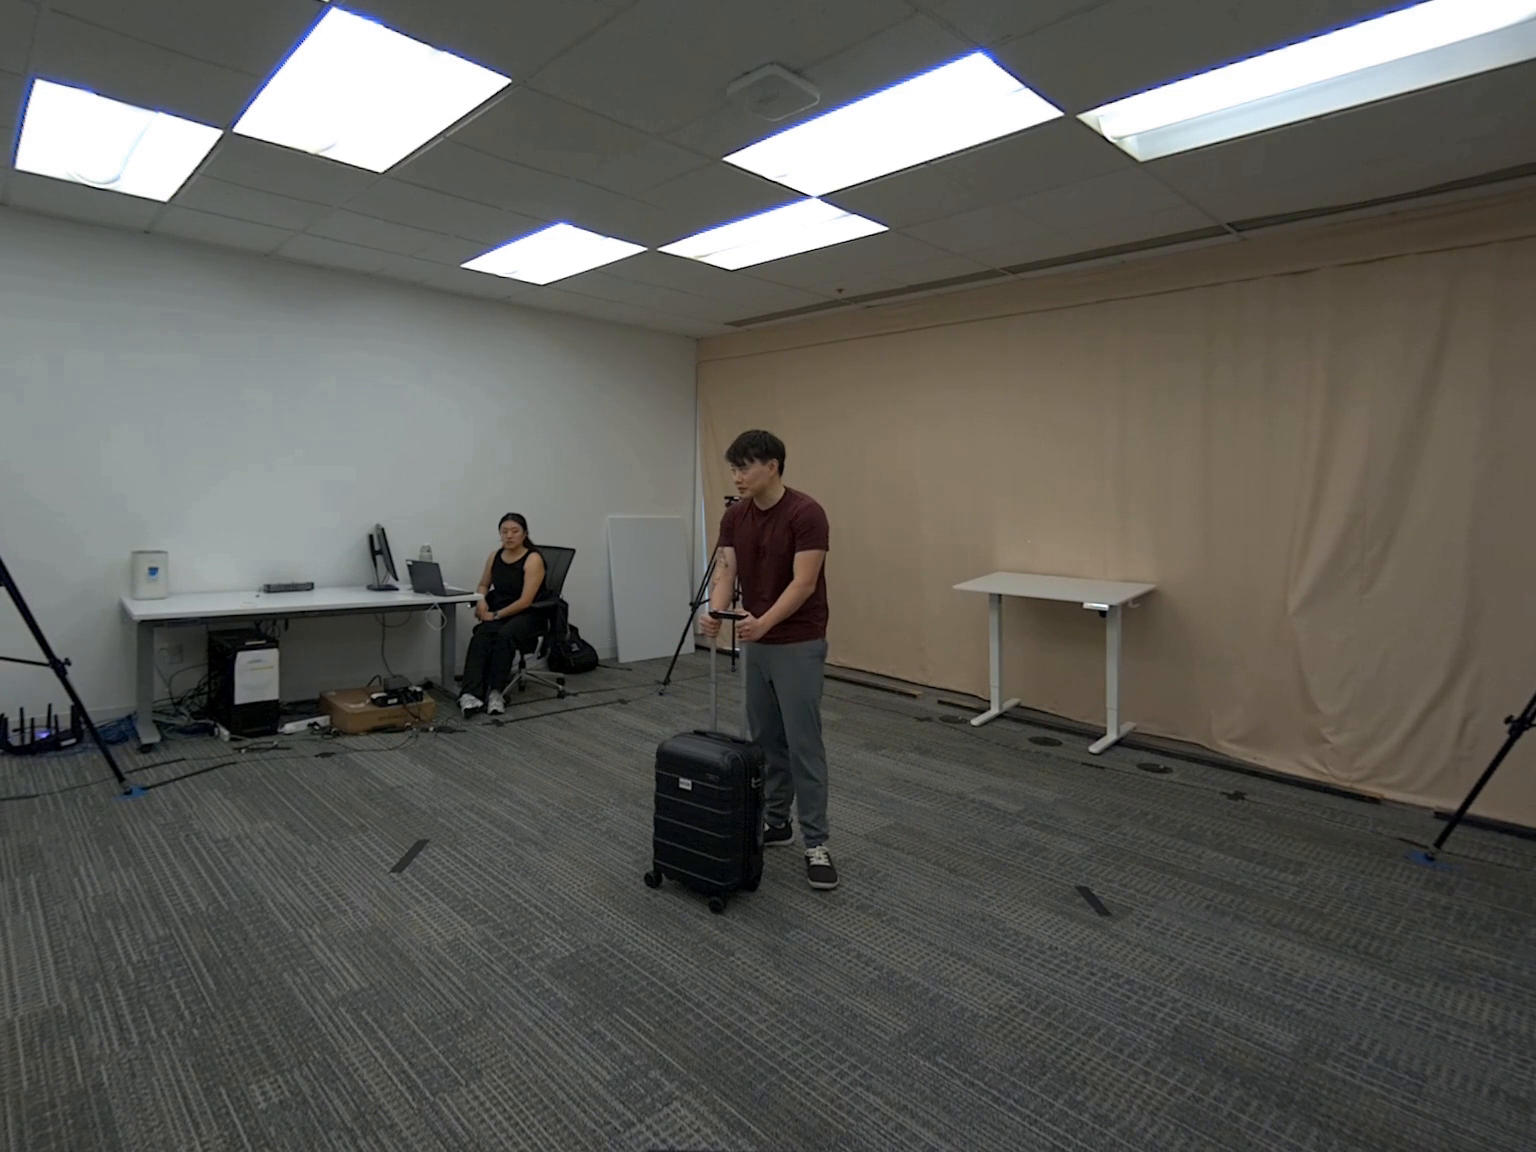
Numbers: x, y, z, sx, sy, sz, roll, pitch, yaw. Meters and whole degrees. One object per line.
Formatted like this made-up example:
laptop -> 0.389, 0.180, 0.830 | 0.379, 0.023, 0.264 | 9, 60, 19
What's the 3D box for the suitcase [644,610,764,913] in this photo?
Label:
suitcase -> -0.215, 0.641, 2.952 | 0.393, 0.974, 0.252 | 6, 7, 34
